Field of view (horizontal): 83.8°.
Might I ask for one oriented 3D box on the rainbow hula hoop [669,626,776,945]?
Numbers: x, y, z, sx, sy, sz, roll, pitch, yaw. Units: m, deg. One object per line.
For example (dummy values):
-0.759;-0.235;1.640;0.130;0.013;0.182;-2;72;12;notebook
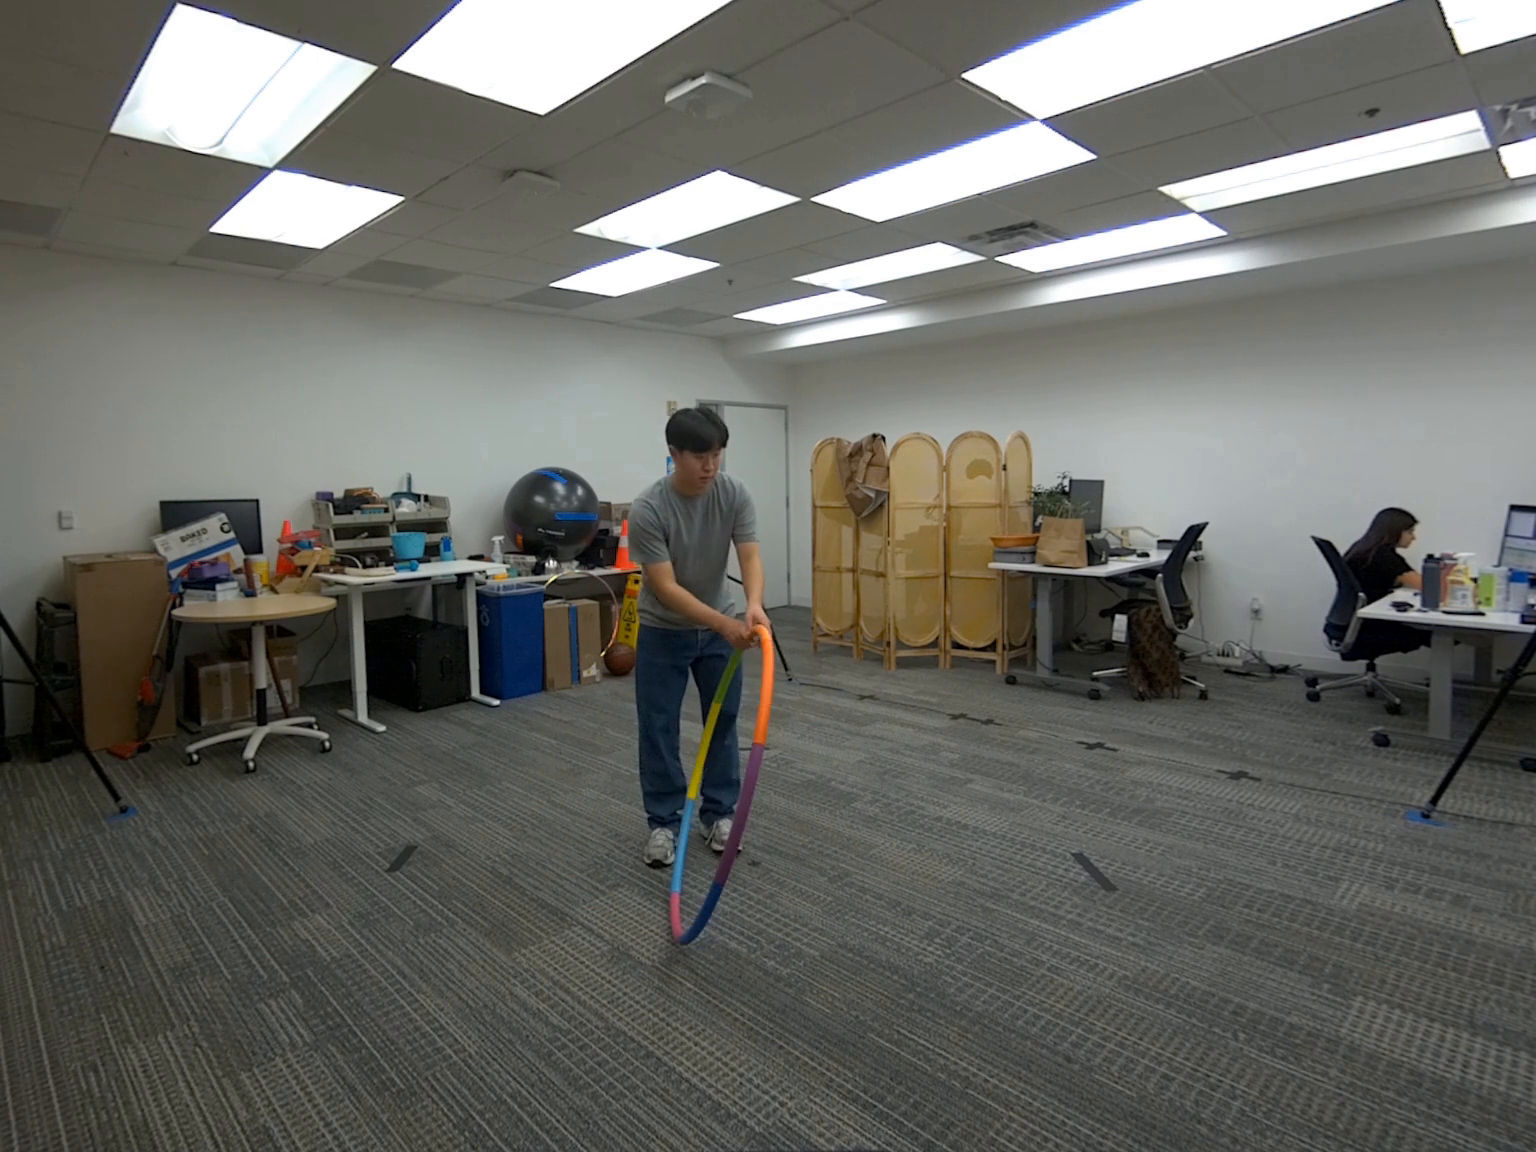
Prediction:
-0.150;0.635;2.688;0.035;0.977;0.989;17;3;-9;rainbow hula hoop
